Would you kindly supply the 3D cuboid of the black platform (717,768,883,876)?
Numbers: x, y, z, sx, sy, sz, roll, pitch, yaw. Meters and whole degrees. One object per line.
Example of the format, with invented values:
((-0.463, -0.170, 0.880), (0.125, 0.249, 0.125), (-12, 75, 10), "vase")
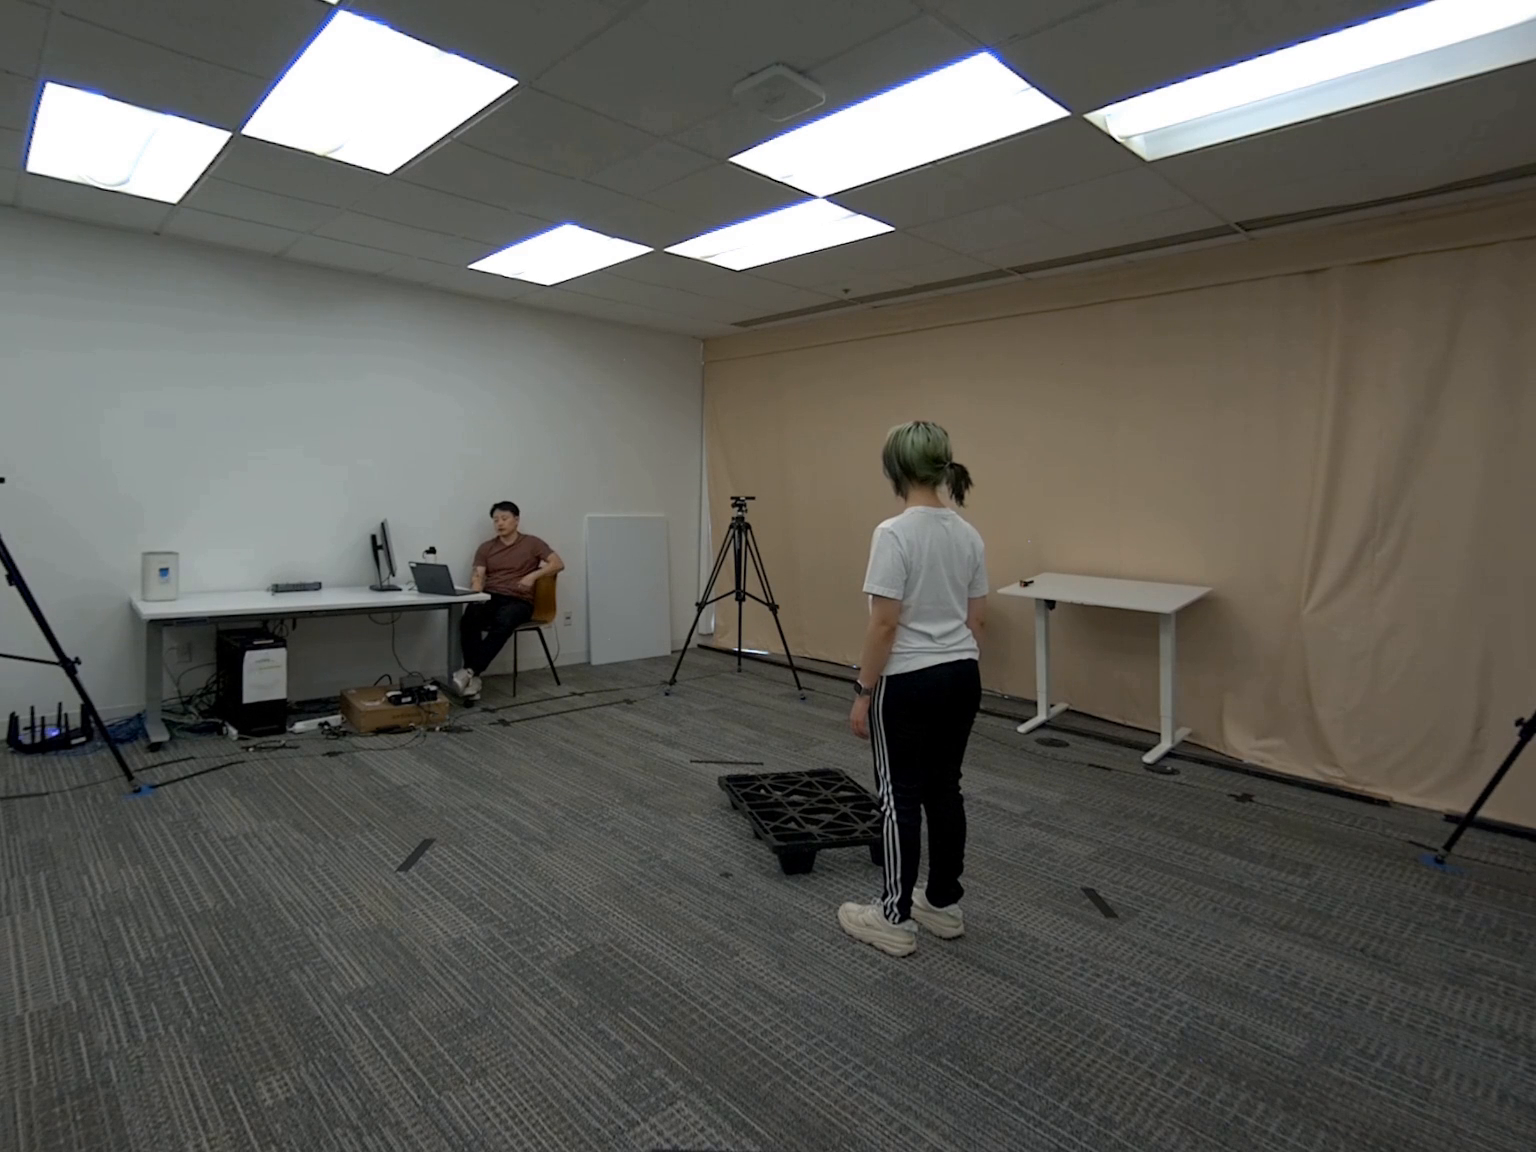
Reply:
((0.168, 1.008, 3.523), (0.597, 0.143, 0.818), (1, 5, -17), "black platform")
